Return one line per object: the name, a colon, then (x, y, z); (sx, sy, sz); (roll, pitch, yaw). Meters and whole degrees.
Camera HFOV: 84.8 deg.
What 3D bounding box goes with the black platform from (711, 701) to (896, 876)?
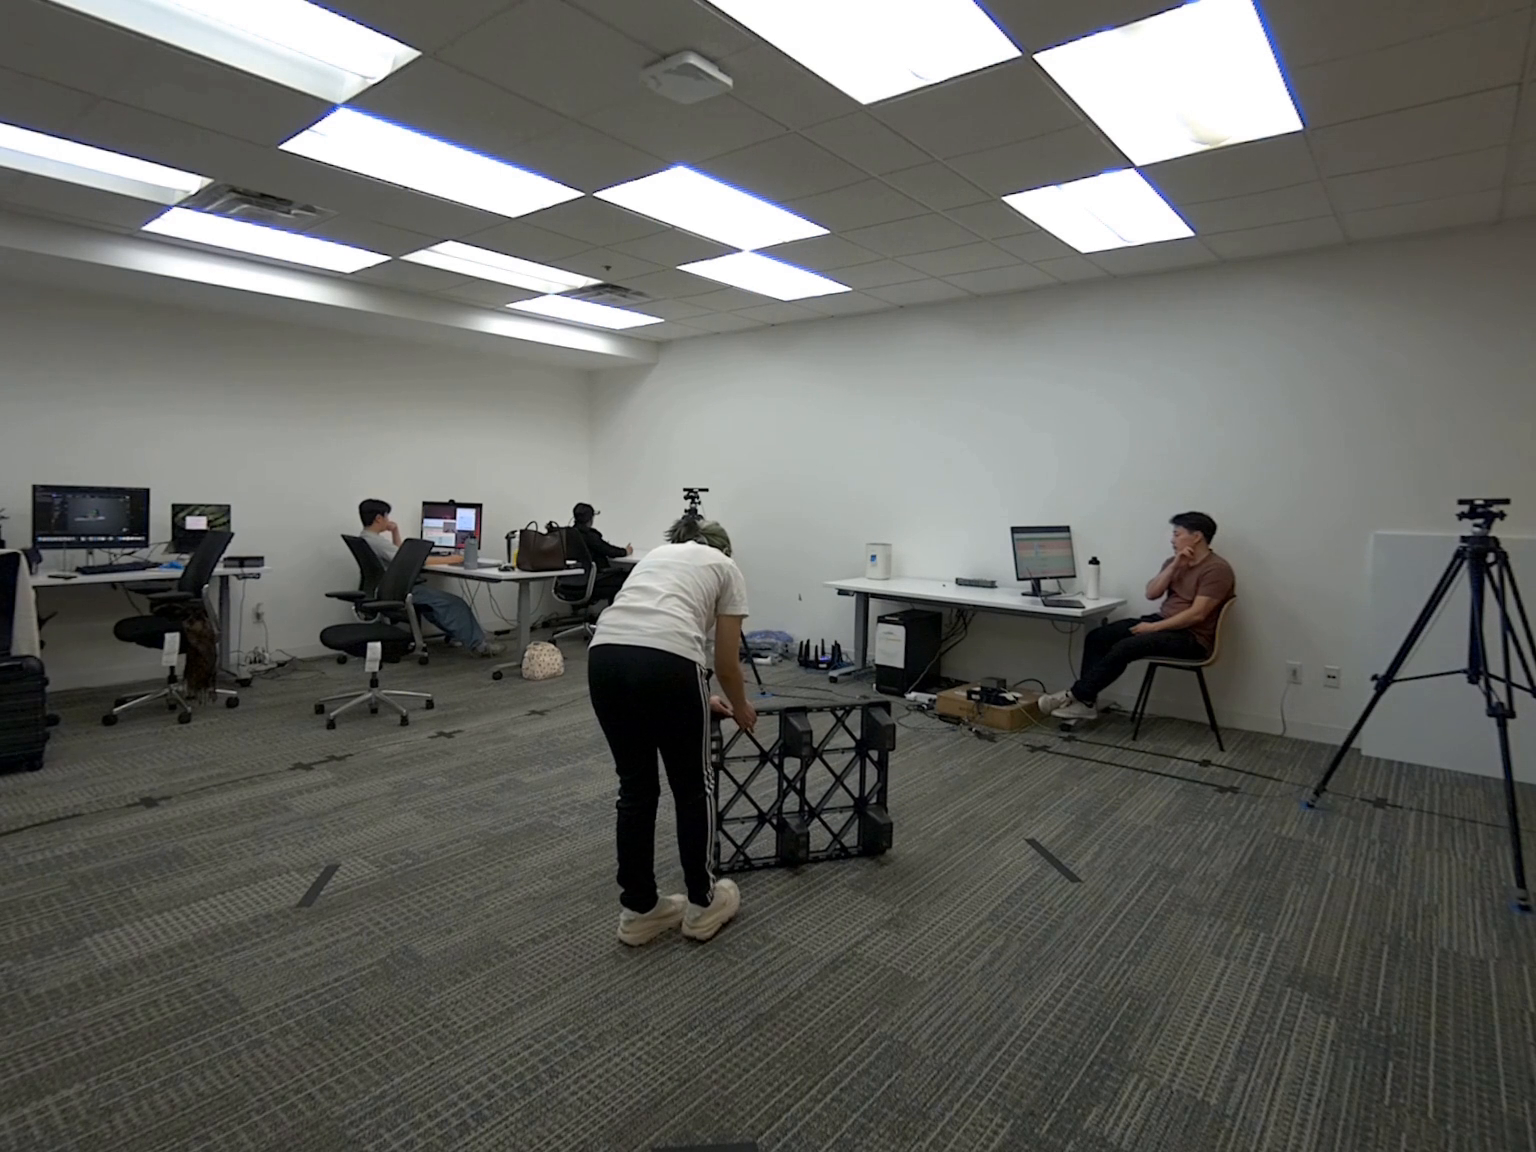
black platform: (0.102, 0.773, 3.108); (0.790, 0.603, 0.146); (0, 4, -19)
